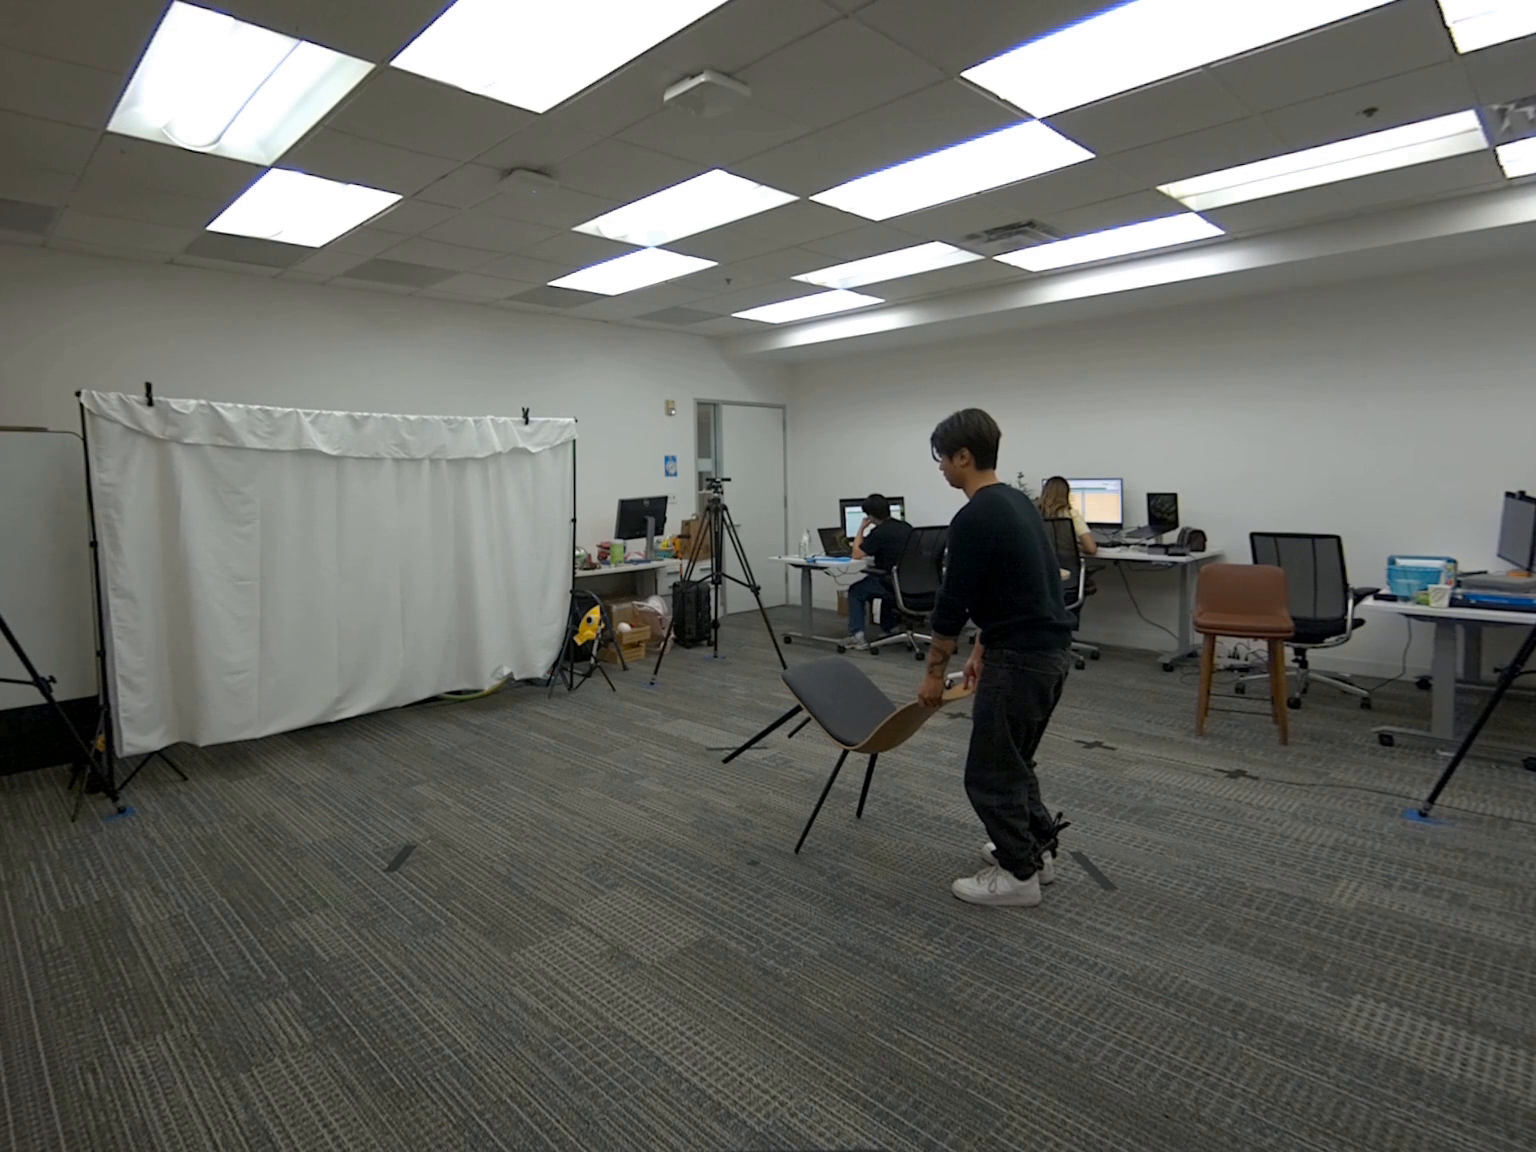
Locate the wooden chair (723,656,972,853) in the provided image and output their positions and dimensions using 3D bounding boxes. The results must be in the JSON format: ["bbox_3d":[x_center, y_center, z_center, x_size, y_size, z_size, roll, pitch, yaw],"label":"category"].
[{"bbox_3d":[0.289,0.538,3.262,0.465,0.873,0.540,-6,49,-50],"label":"wooden chair"}]
